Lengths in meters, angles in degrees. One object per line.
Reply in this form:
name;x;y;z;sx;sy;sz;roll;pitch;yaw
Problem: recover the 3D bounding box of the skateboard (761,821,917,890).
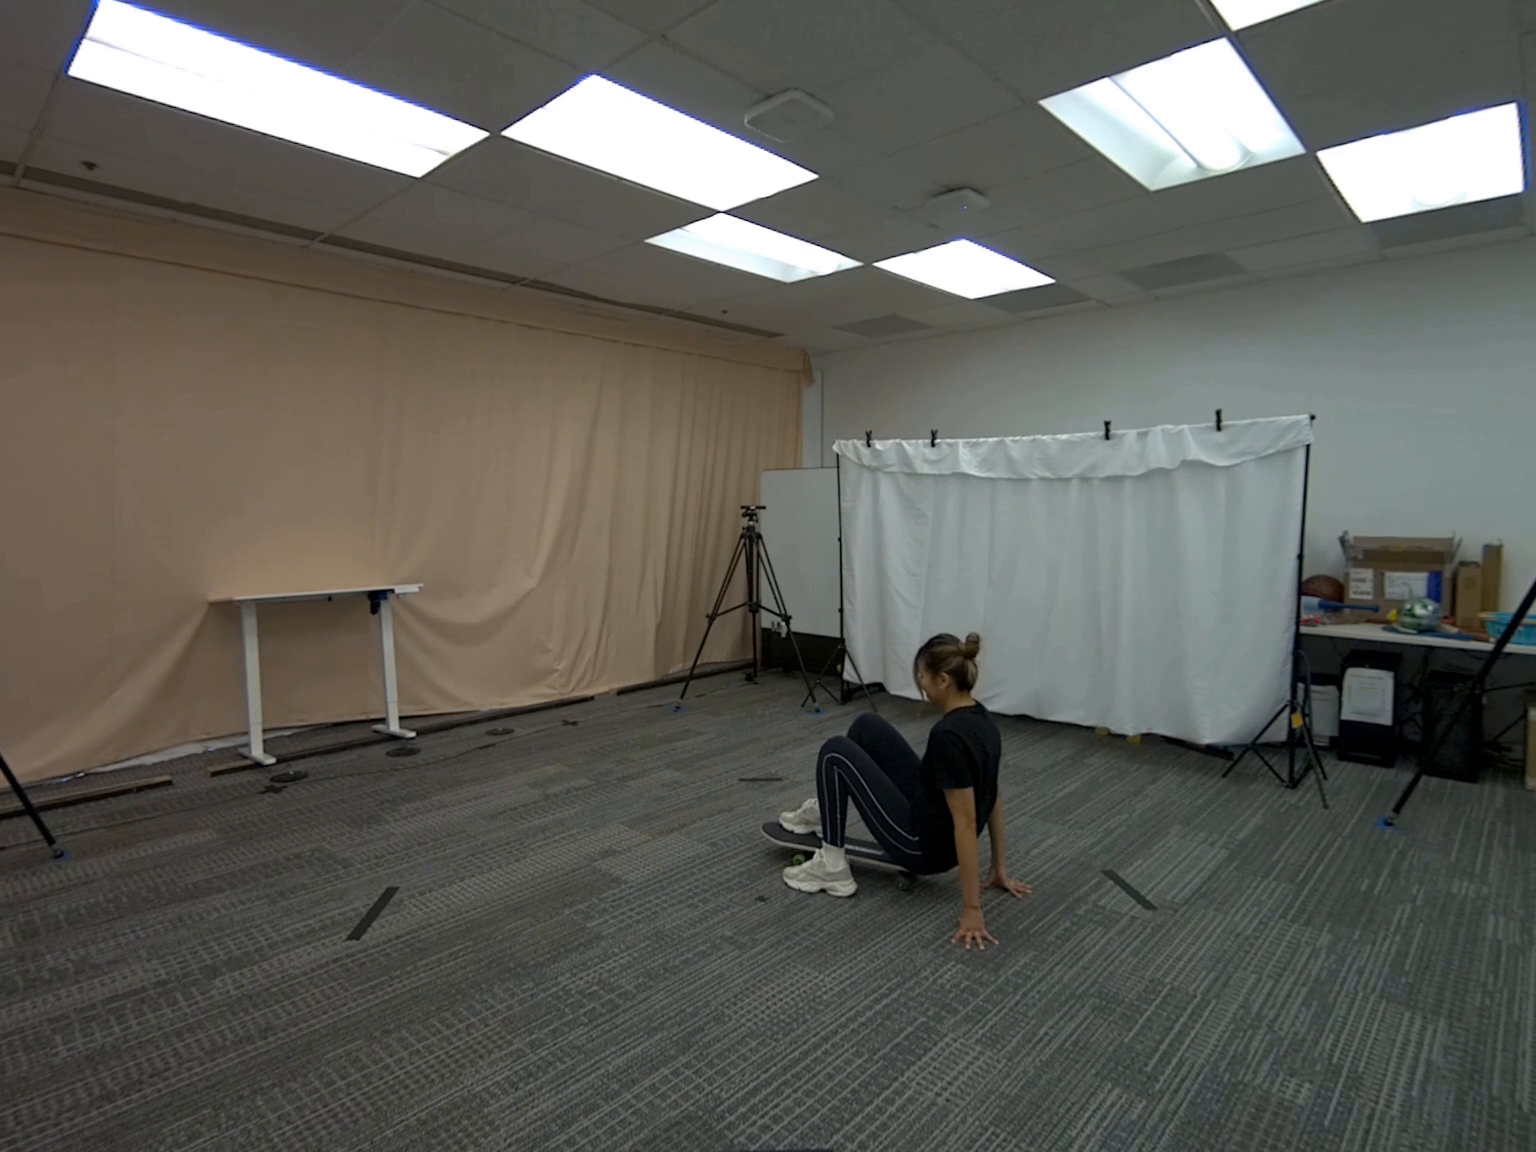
skateboard;0.344;1.074;3.211;0.806;0.110;0.188;3;1;27
